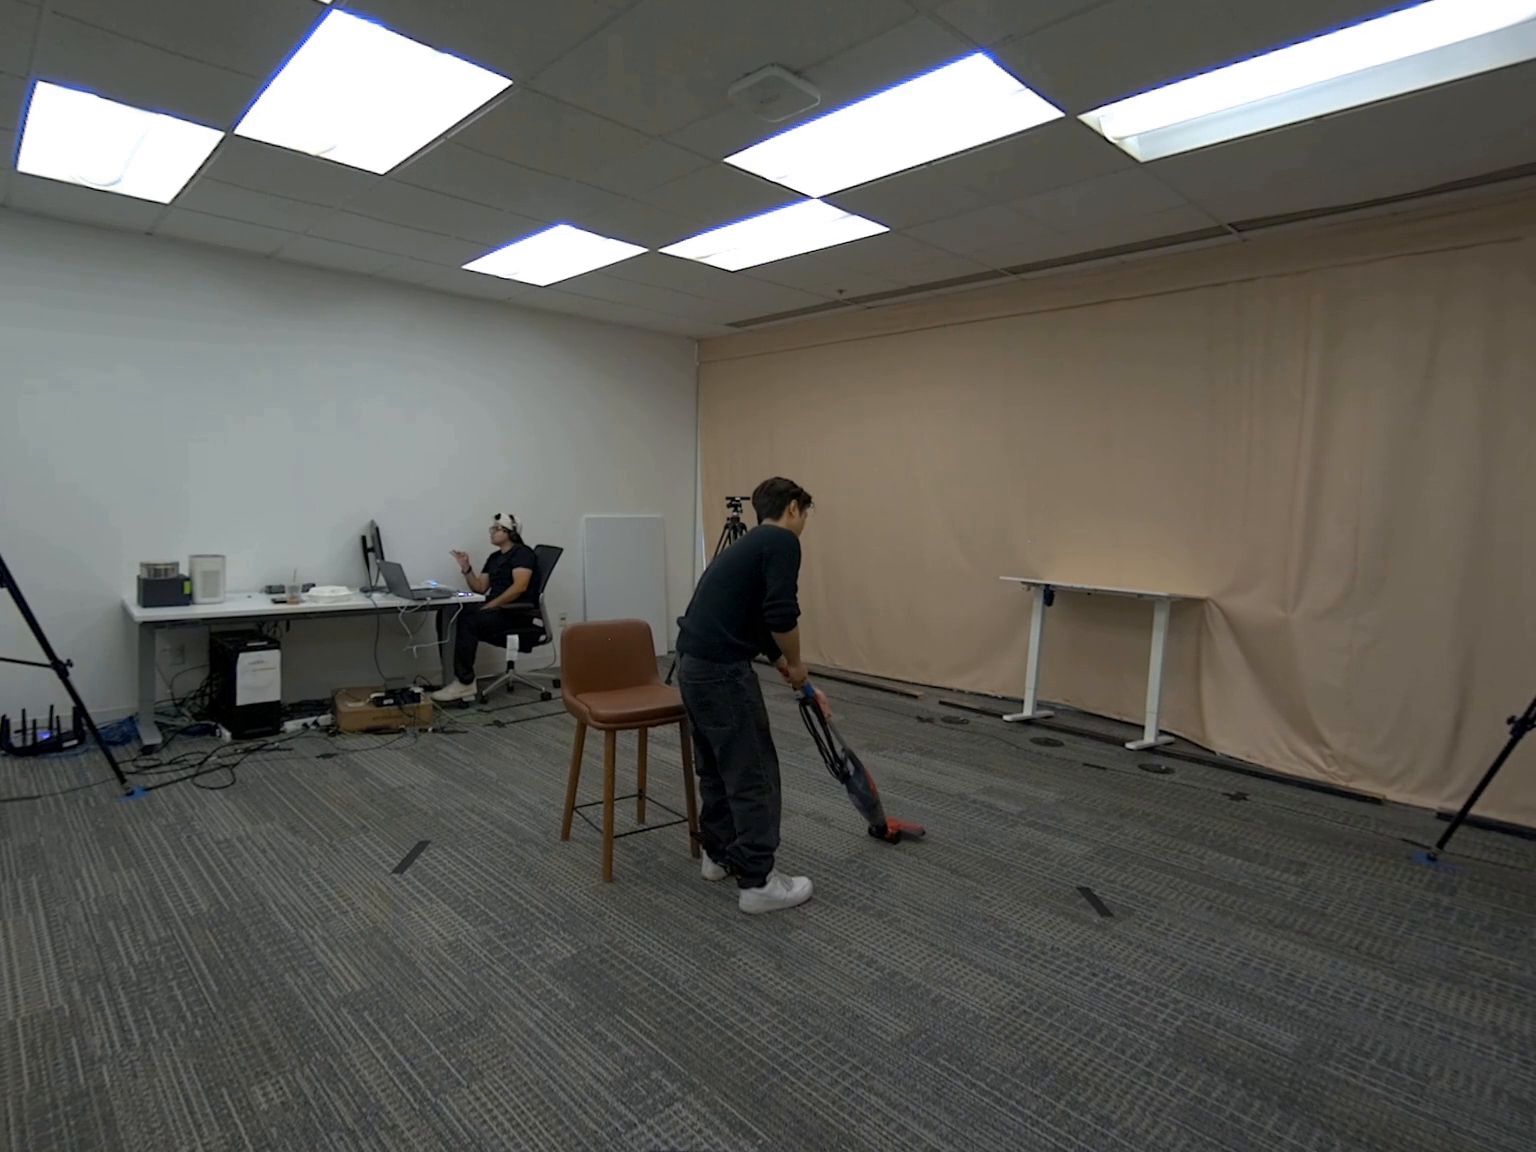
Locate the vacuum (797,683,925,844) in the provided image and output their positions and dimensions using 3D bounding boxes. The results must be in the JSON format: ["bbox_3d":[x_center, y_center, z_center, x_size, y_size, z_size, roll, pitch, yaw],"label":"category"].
[{"bbox_3d":[0.275,0.703,3.257,0.259,1.020,0.144,2,46,44],"label":"vacuum"}]
